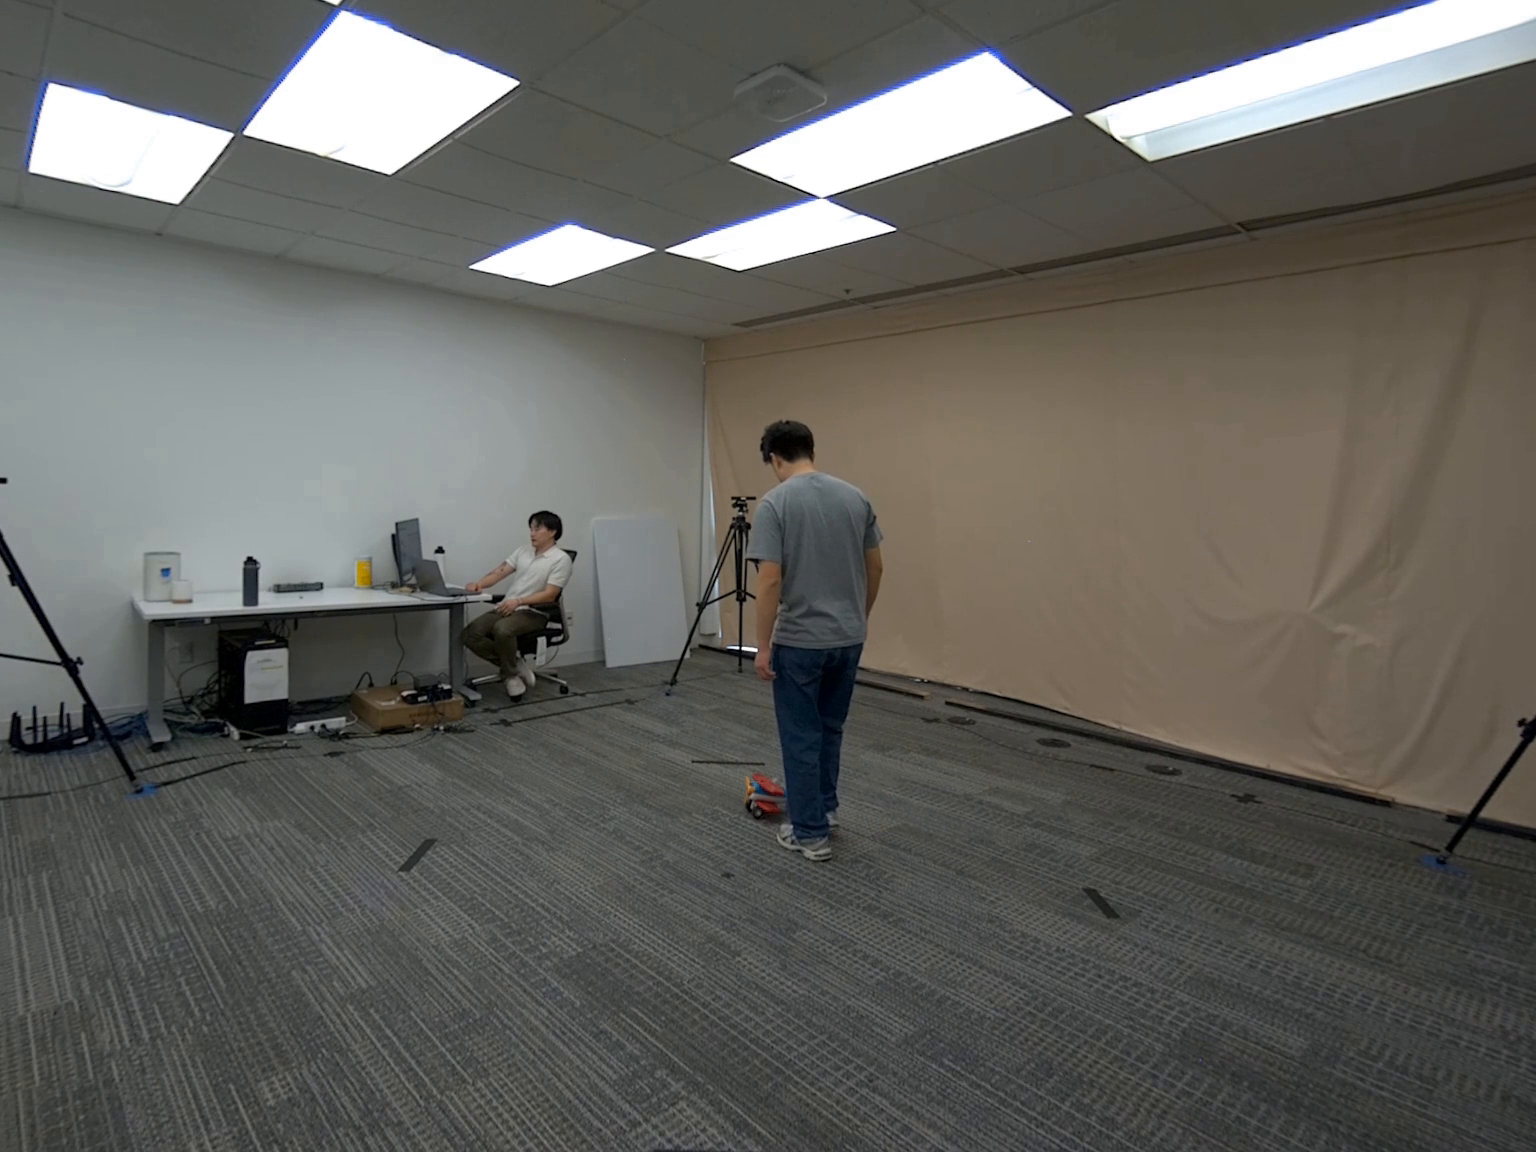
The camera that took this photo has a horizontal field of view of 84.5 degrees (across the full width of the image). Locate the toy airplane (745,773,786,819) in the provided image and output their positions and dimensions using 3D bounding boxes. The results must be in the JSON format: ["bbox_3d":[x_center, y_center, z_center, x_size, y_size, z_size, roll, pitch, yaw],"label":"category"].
[{"bbox_3d":[0.008,0.982,3.760,0.257,0.156,0.253,6,7,43],"label":"toy airplane"}]
